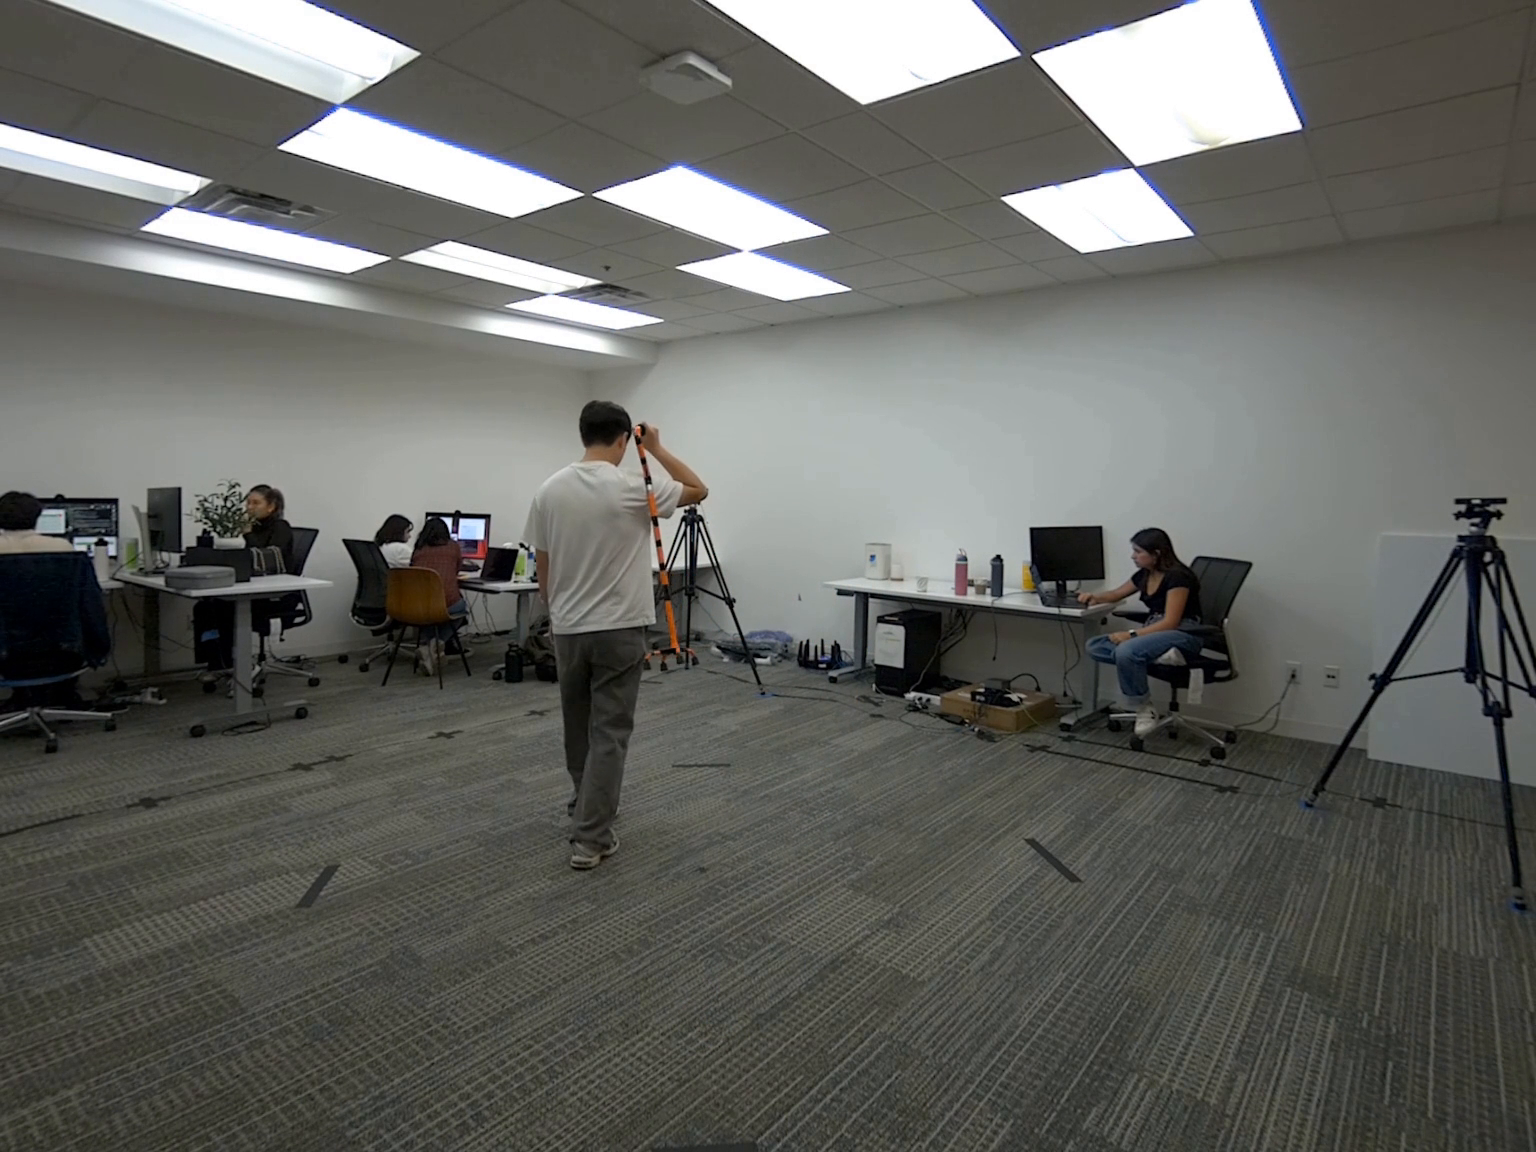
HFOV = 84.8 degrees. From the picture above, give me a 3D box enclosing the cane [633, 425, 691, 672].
[{"bbox_3d":[-0.419,-0.127,3.103,0.150,0.919,0.206,-7,-10,-12],"label":"cane"}]
